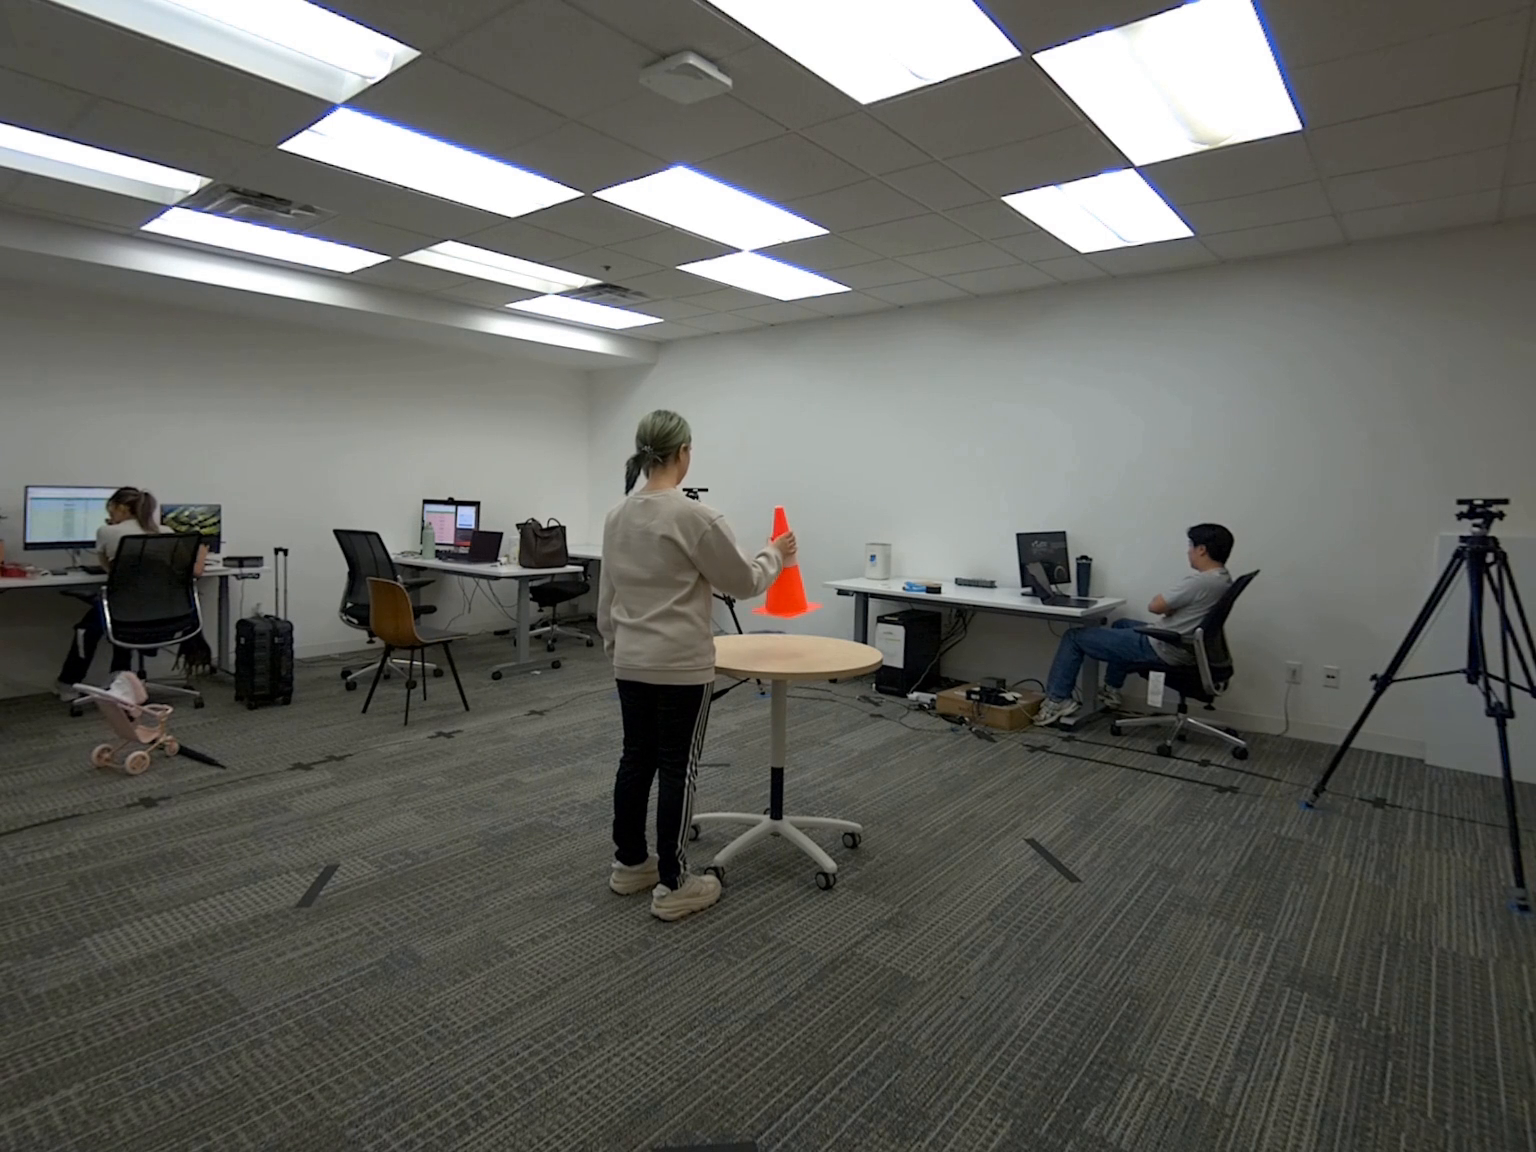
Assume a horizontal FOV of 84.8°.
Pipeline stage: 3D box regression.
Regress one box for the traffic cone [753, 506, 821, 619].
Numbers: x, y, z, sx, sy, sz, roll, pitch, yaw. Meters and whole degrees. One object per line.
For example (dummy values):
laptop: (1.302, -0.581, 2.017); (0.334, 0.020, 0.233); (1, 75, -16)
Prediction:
traffic cone: (0.052, -0.068, 3.095); (0.212, 0.379, 0.198); (7, 15, 40)
